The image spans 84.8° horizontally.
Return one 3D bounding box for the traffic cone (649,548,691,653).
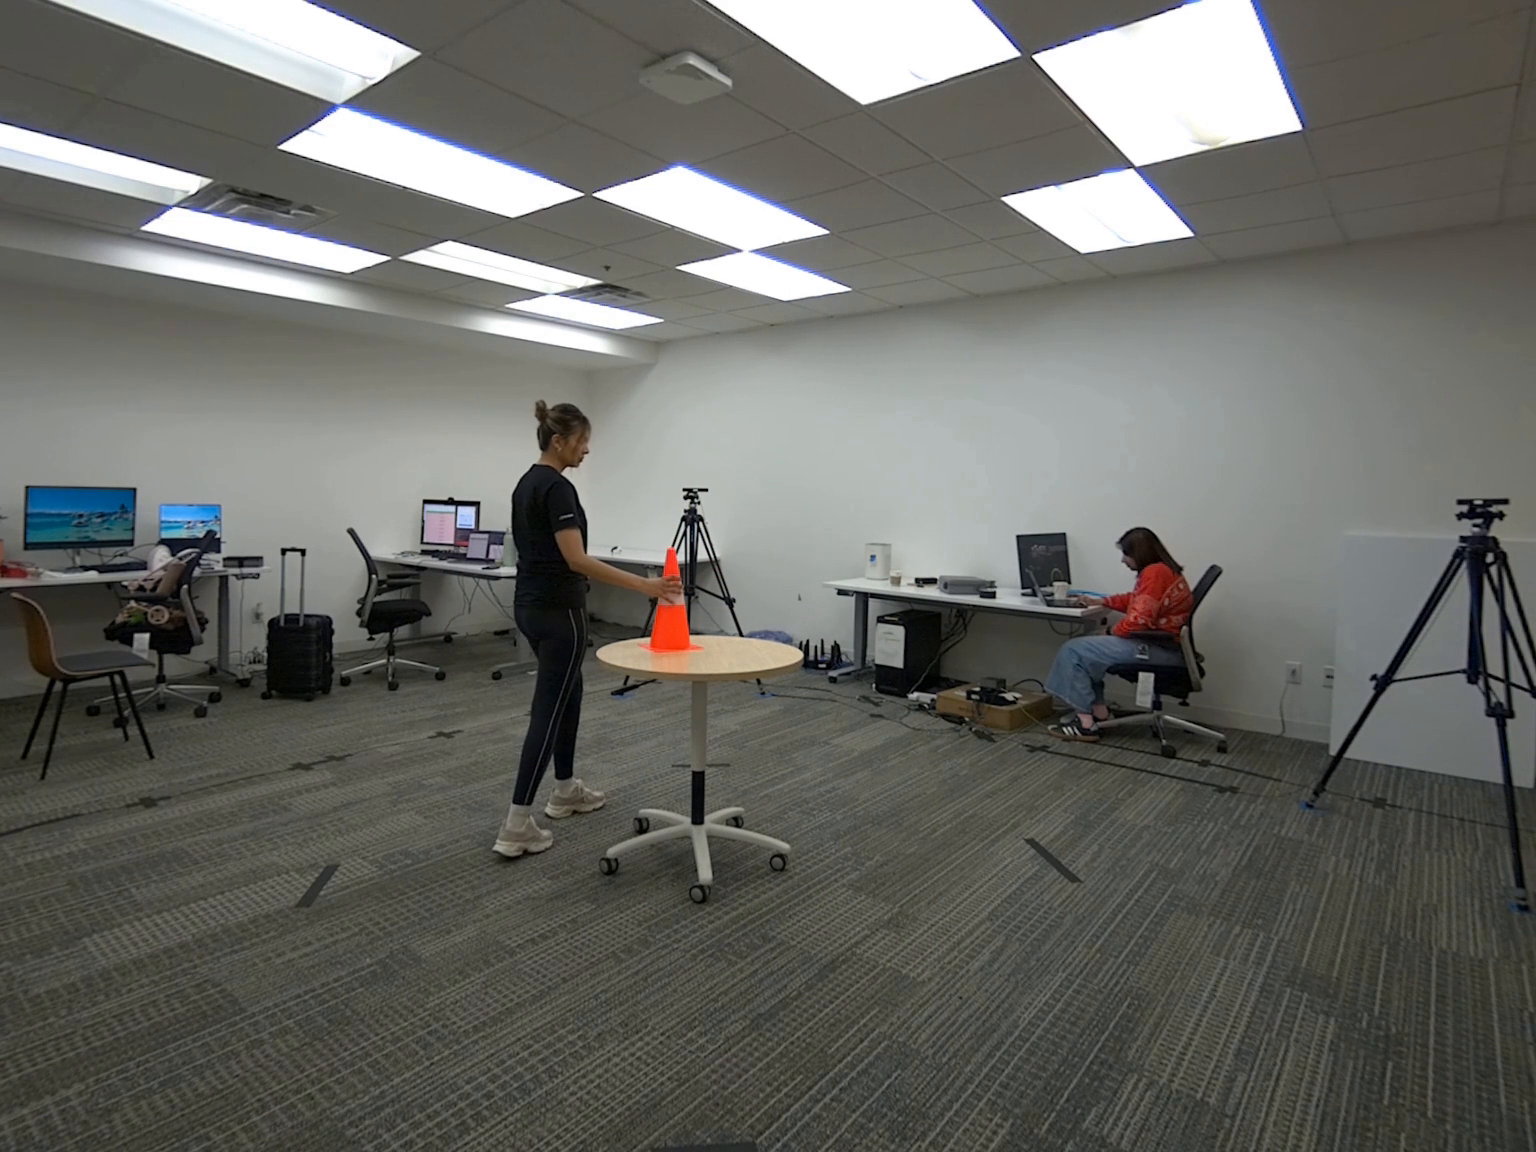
[{"bbox_3d":[-0.388,0.085,3.257,0.210,0.383,0.199,1,4,36],"label":"traffic cone"}]
